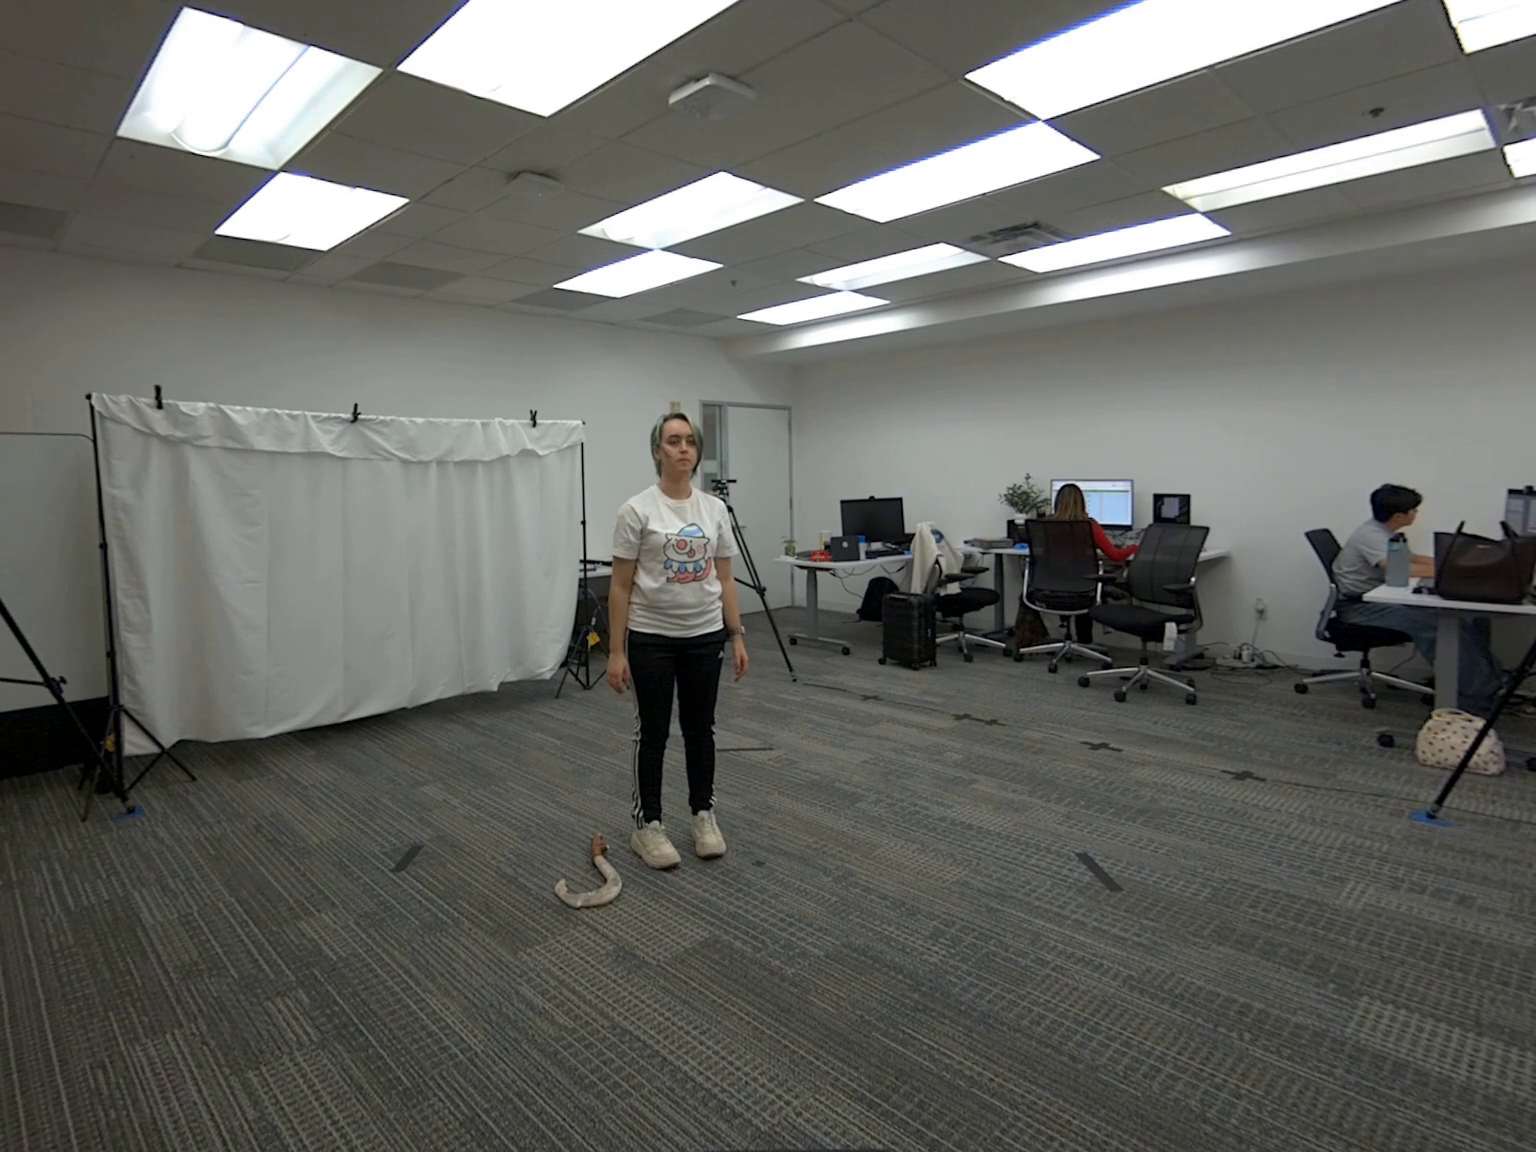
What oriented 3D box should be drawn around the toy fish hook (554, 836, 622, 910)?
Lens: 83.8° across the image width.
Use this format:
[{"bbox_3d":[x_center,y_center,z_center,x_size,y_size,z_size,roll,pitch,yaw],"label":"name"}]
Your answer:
[{"bbox_3d":[-0.645,1.043,3.047,0.222,0.048,0.515,-2,6,-14],"label":"toy fish hook"}]
